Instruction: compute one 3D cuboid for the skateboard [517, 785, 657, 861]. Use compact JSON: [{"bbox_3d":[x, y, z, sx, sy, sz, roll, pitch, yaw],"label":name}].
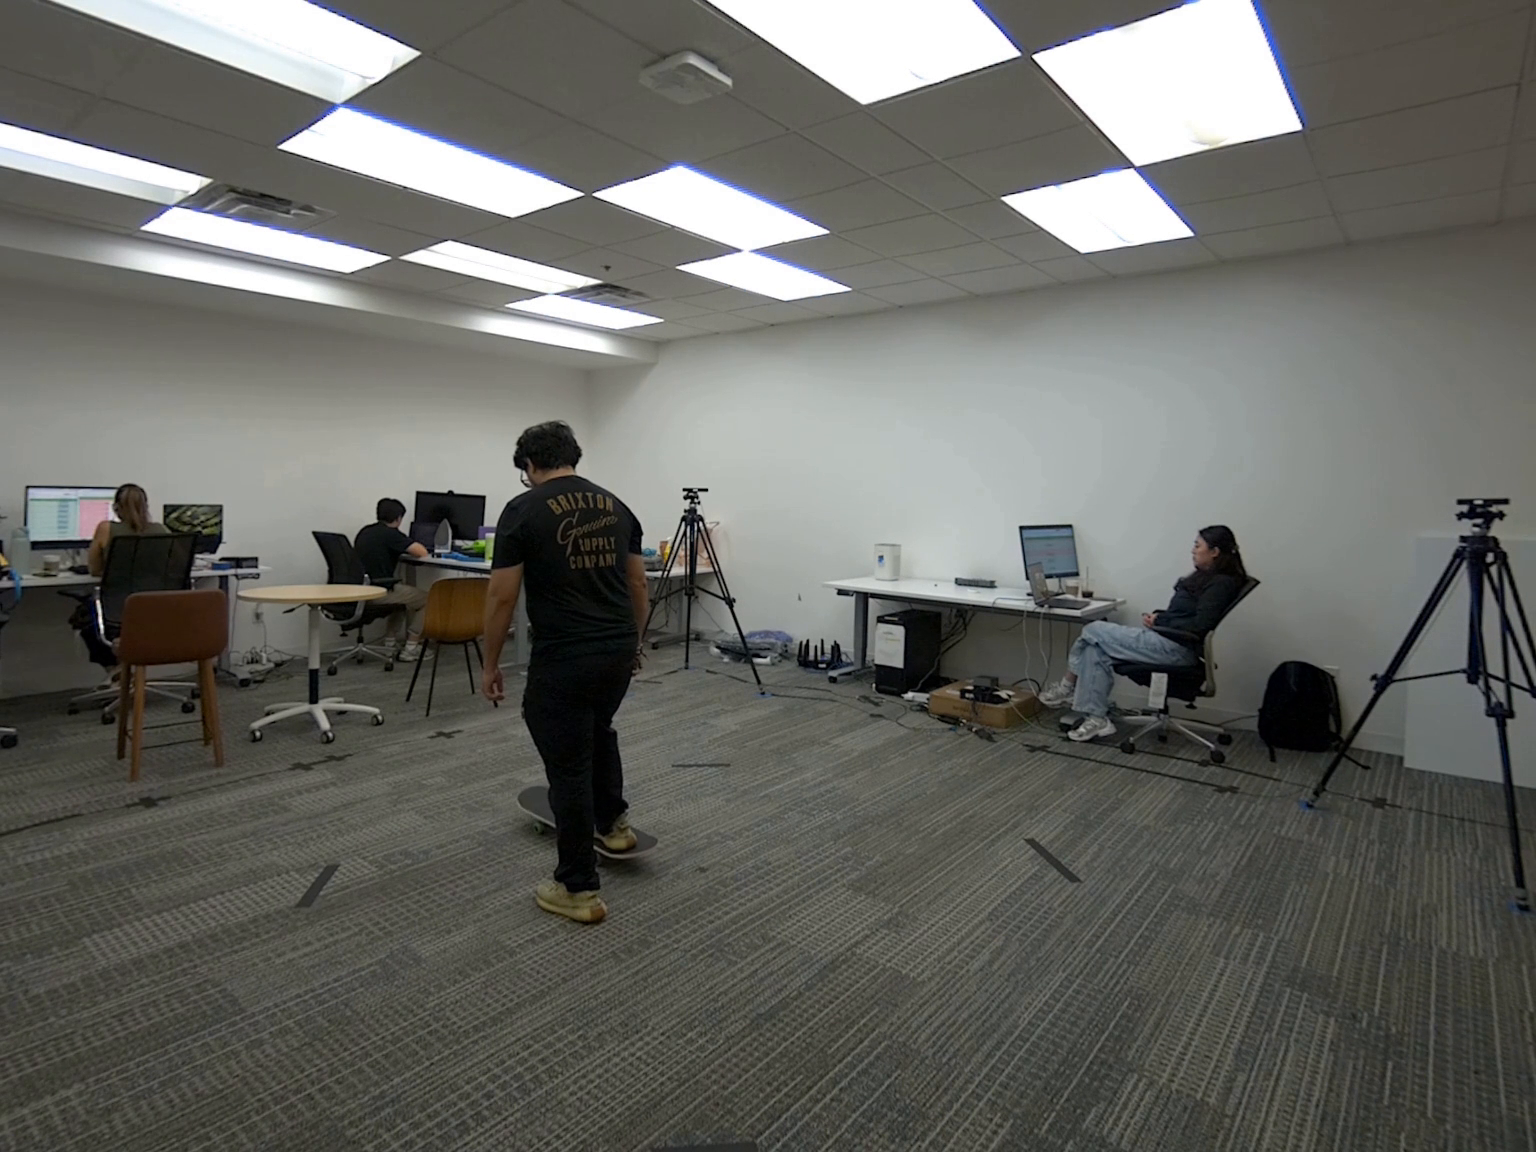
[{"bbox_3d":[-0.728,0.982,3.307,0.813,0.109,0.188,8,14,43],"label":"skateboard"}]
